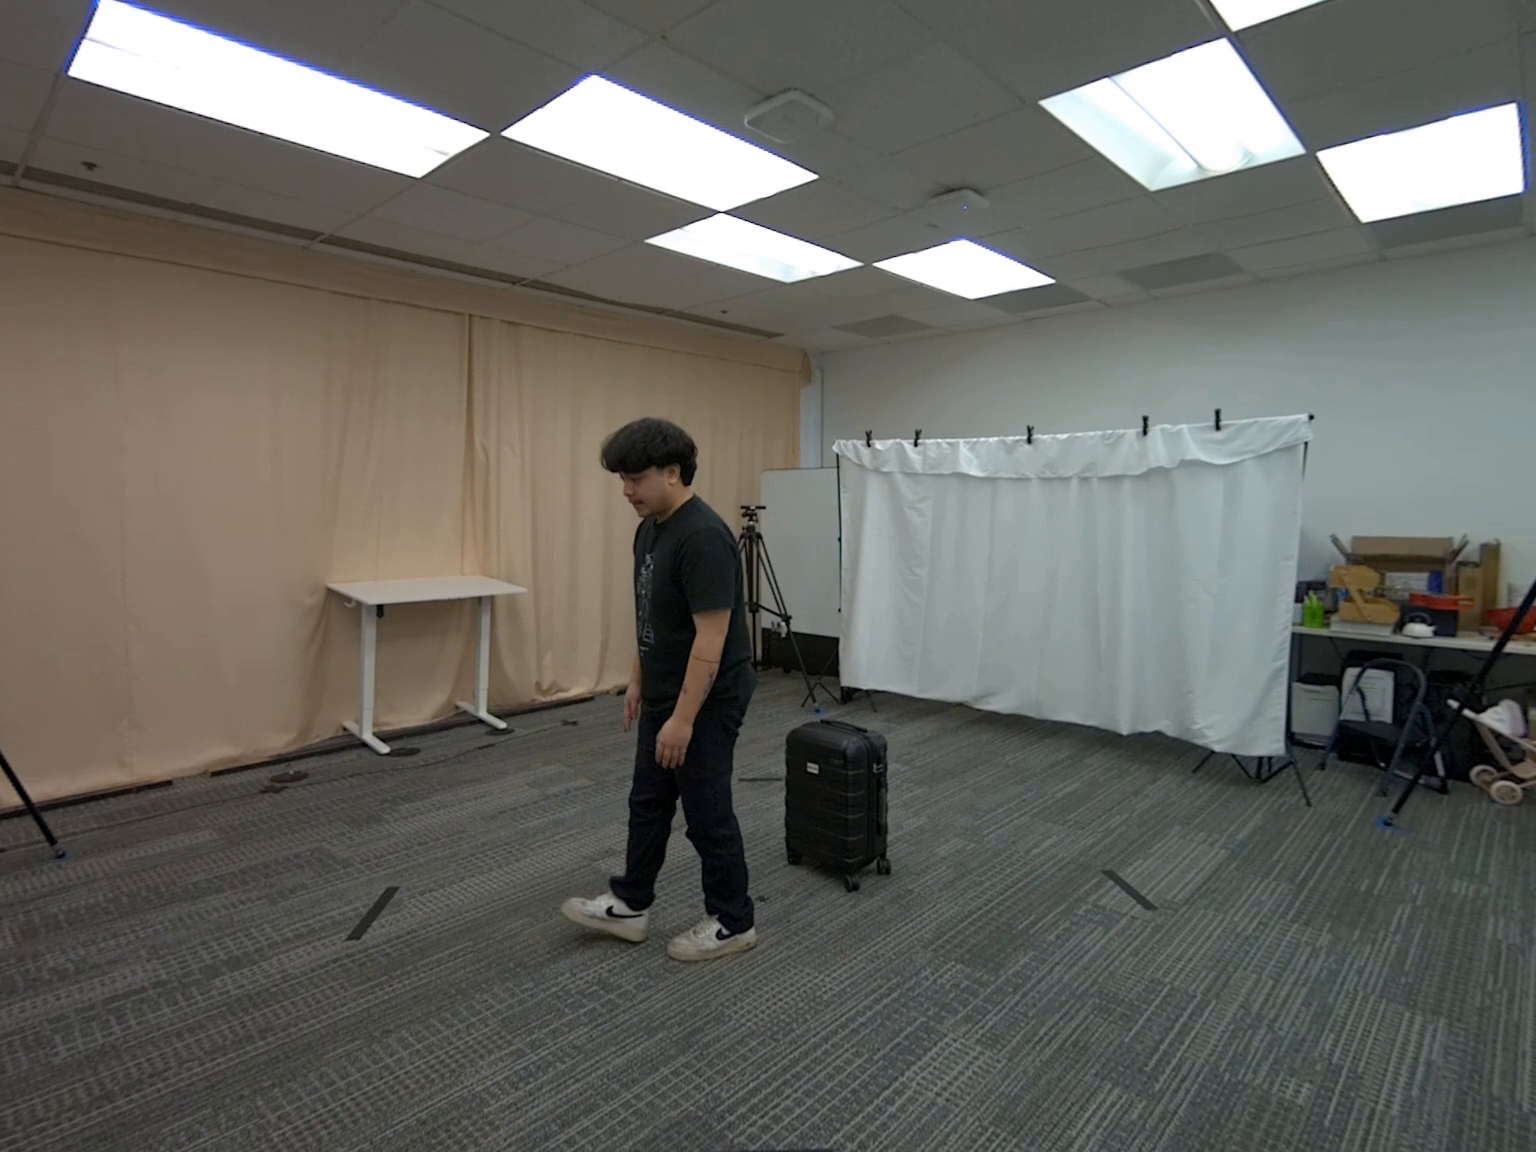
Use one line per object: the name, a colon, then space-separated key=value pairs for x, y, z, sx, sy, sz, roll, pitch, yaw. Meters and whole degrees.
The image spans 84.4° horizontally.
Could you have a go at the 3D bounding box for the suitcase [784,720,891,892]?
suitcase: x=0.268 y=0.844 z=3.228 sx=0.241 sy=0.548 sz=0.388 roll=-3 pitch=4 yaw=-44
